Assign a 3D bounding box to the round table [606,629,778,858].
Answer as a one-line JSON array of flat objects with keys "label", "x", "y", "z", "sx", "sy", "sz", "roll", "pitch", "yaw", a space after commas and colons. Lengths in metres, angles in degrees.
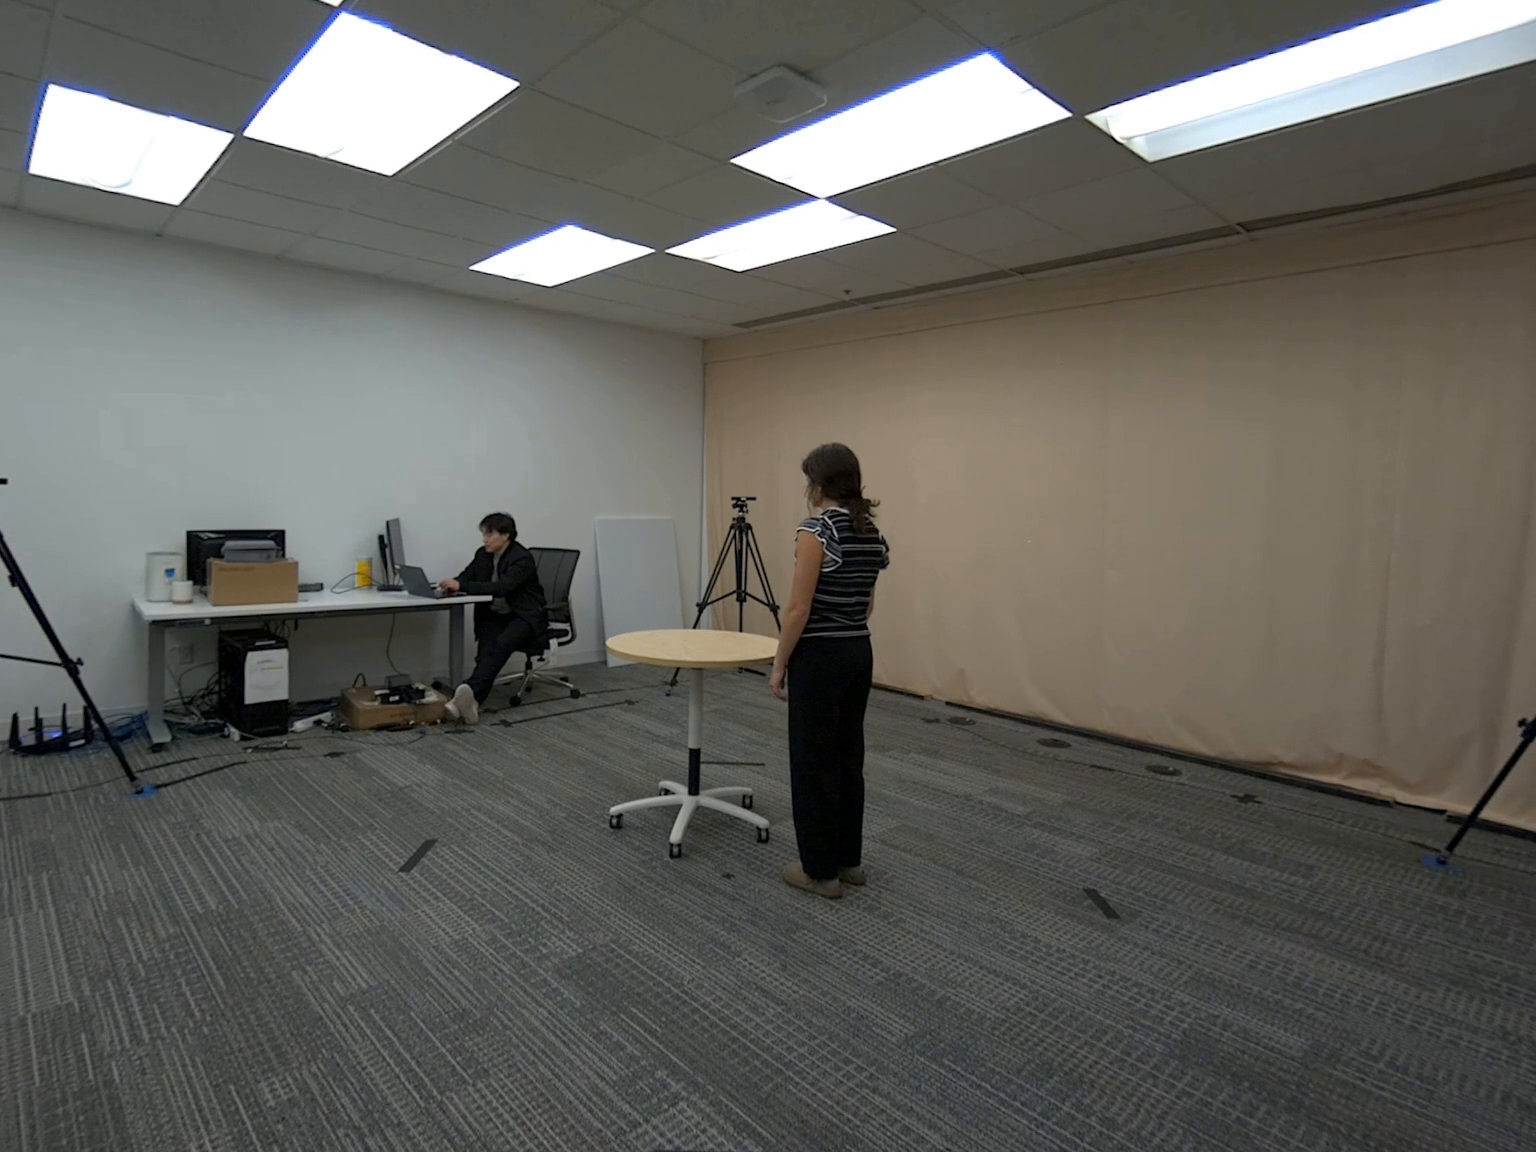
[{"label": "round table", "x": -0.319, "y": 0.677, "z": 3.549, "sx": 0.763, "sy": 0.792, "sz": 0.766, "roll": 2, "pitch": 4, "yaw": -1}]
